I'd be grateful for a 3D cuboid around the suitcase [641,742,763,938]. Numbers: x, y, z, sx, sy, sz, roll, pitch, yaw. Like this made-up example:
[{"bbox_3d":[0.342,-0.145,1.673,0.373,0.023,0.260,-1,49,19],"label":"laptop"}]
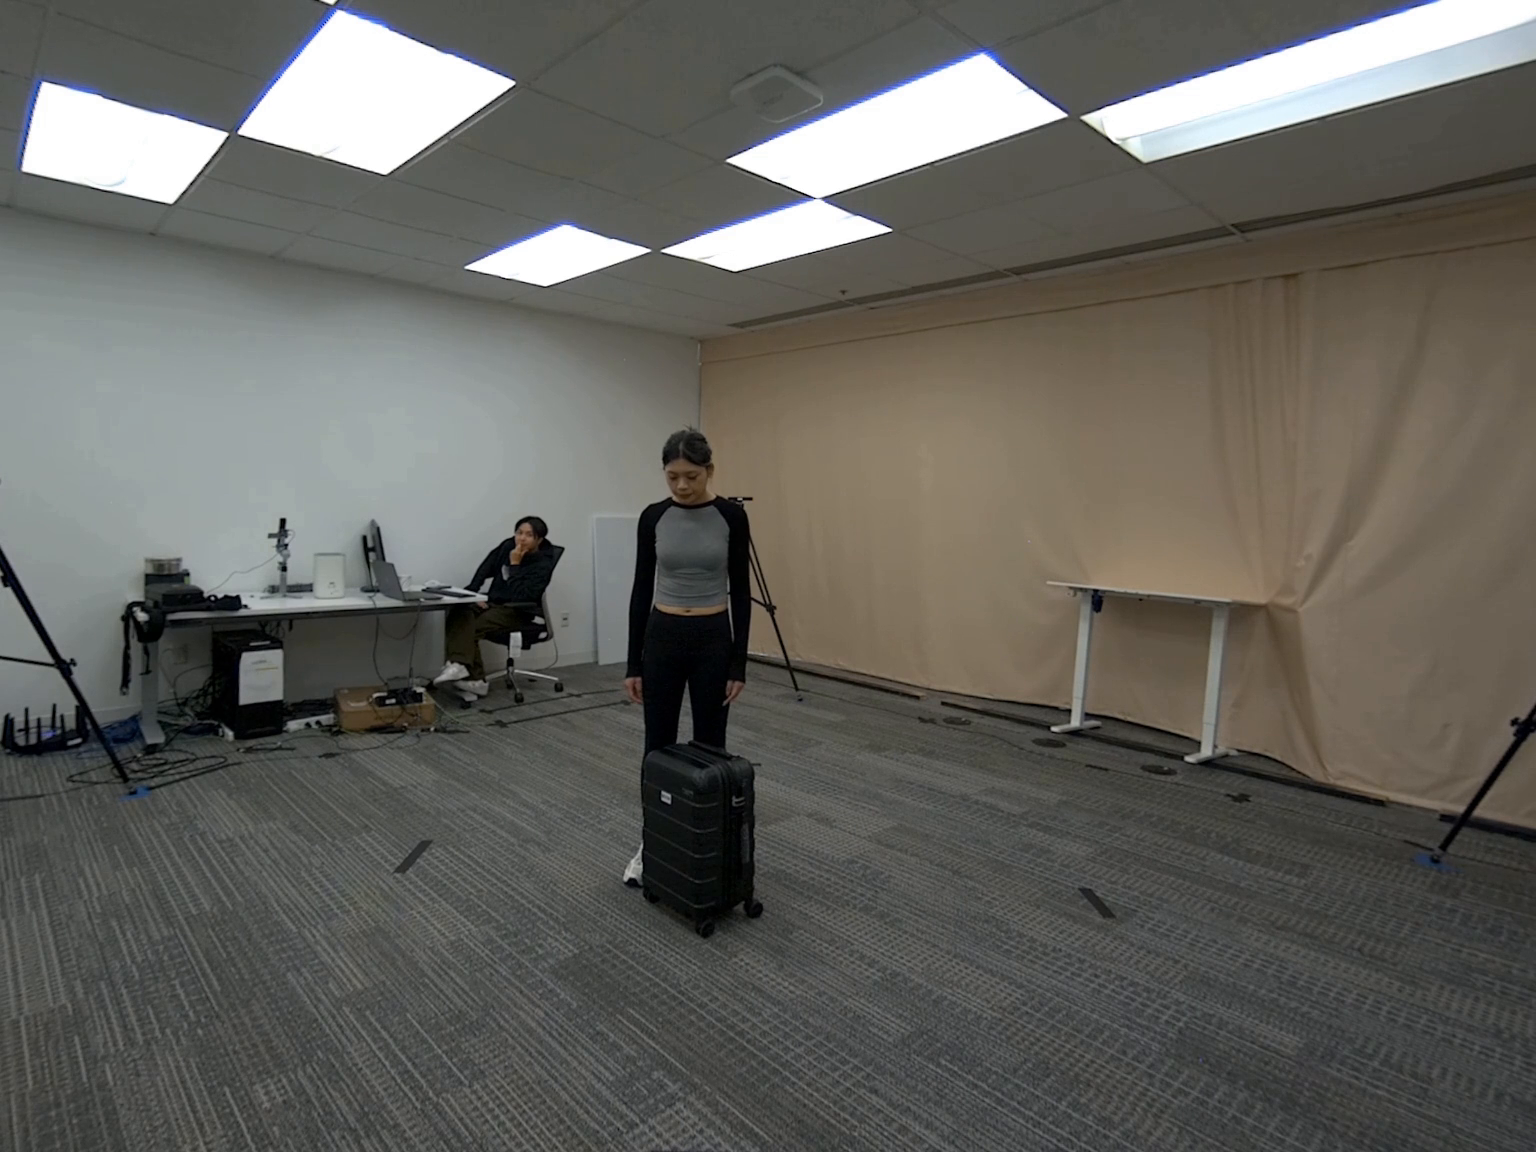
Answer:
[{"bbox_3d":[-0.237,0.855,2.825,0.243,0.547,0.385,-4,7,-42],"label":"suitcase"}]
